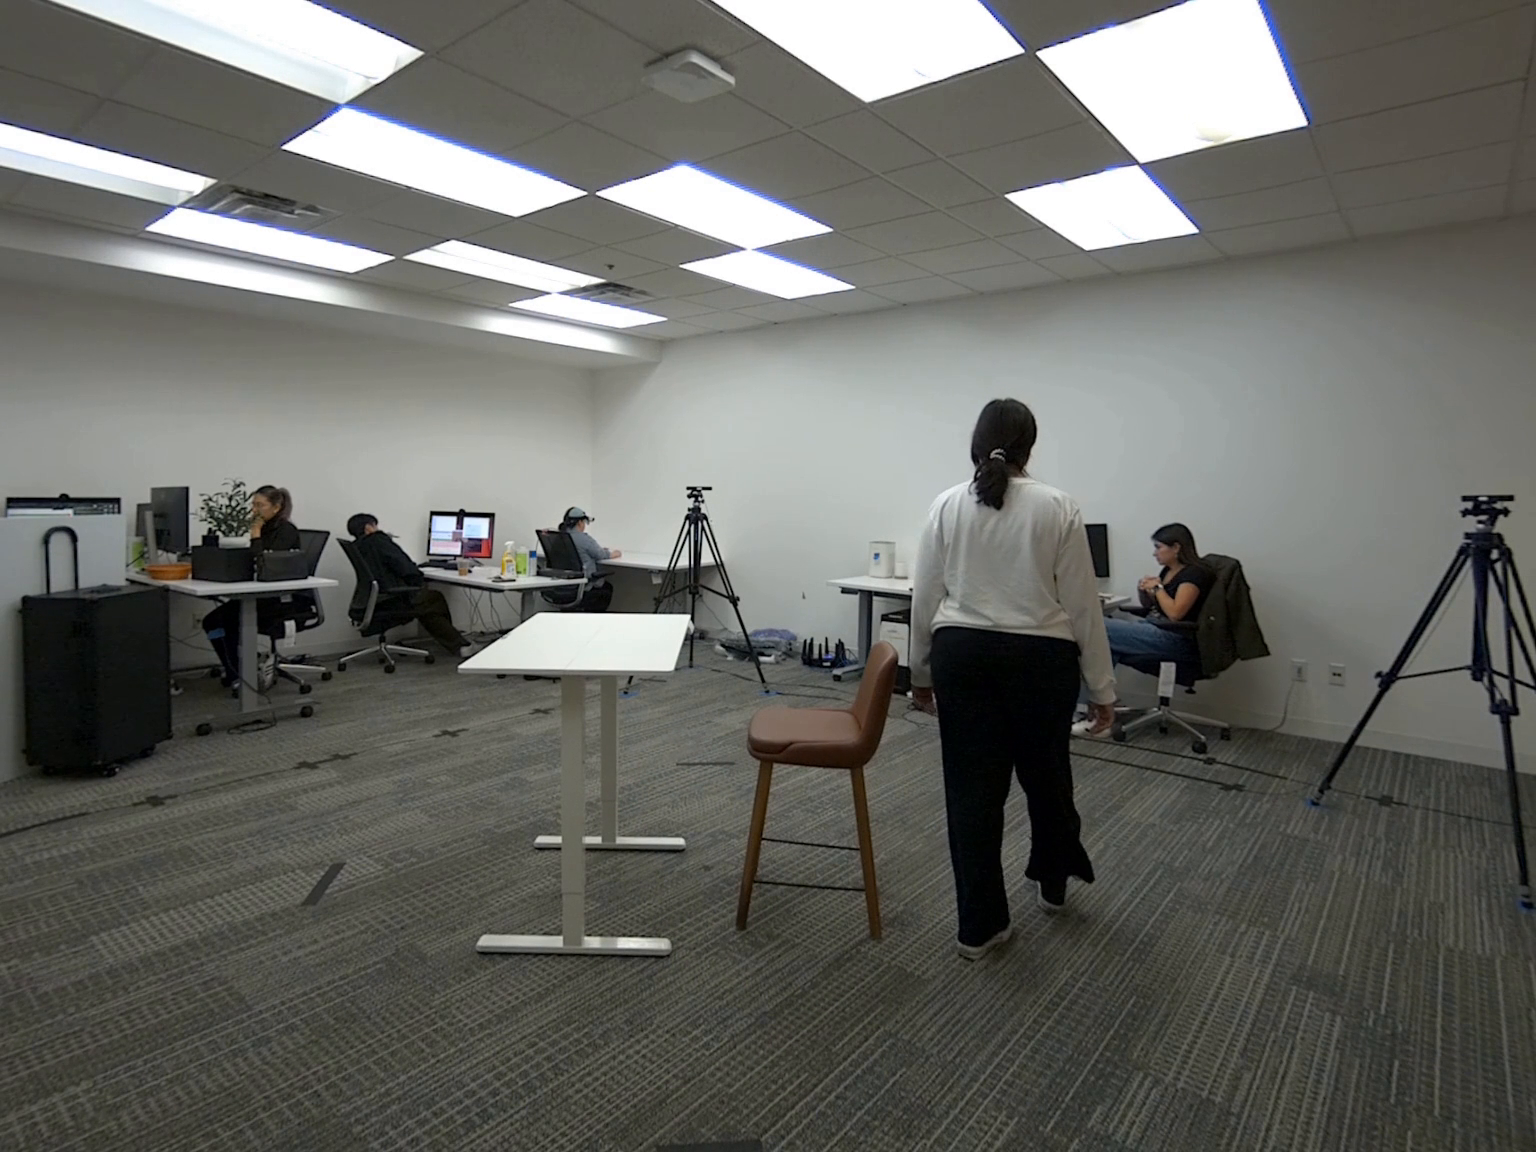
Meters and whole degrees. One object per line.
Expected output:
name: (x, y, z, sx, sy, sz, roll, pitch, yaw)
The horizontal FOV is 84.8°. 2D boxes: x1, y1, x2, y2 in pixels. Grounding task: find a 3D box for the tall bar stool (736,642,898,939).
tall bar stool: (0.163, 0.665, 2.826, 0.472, 0.887, 0.454, 4, 4, 7)
